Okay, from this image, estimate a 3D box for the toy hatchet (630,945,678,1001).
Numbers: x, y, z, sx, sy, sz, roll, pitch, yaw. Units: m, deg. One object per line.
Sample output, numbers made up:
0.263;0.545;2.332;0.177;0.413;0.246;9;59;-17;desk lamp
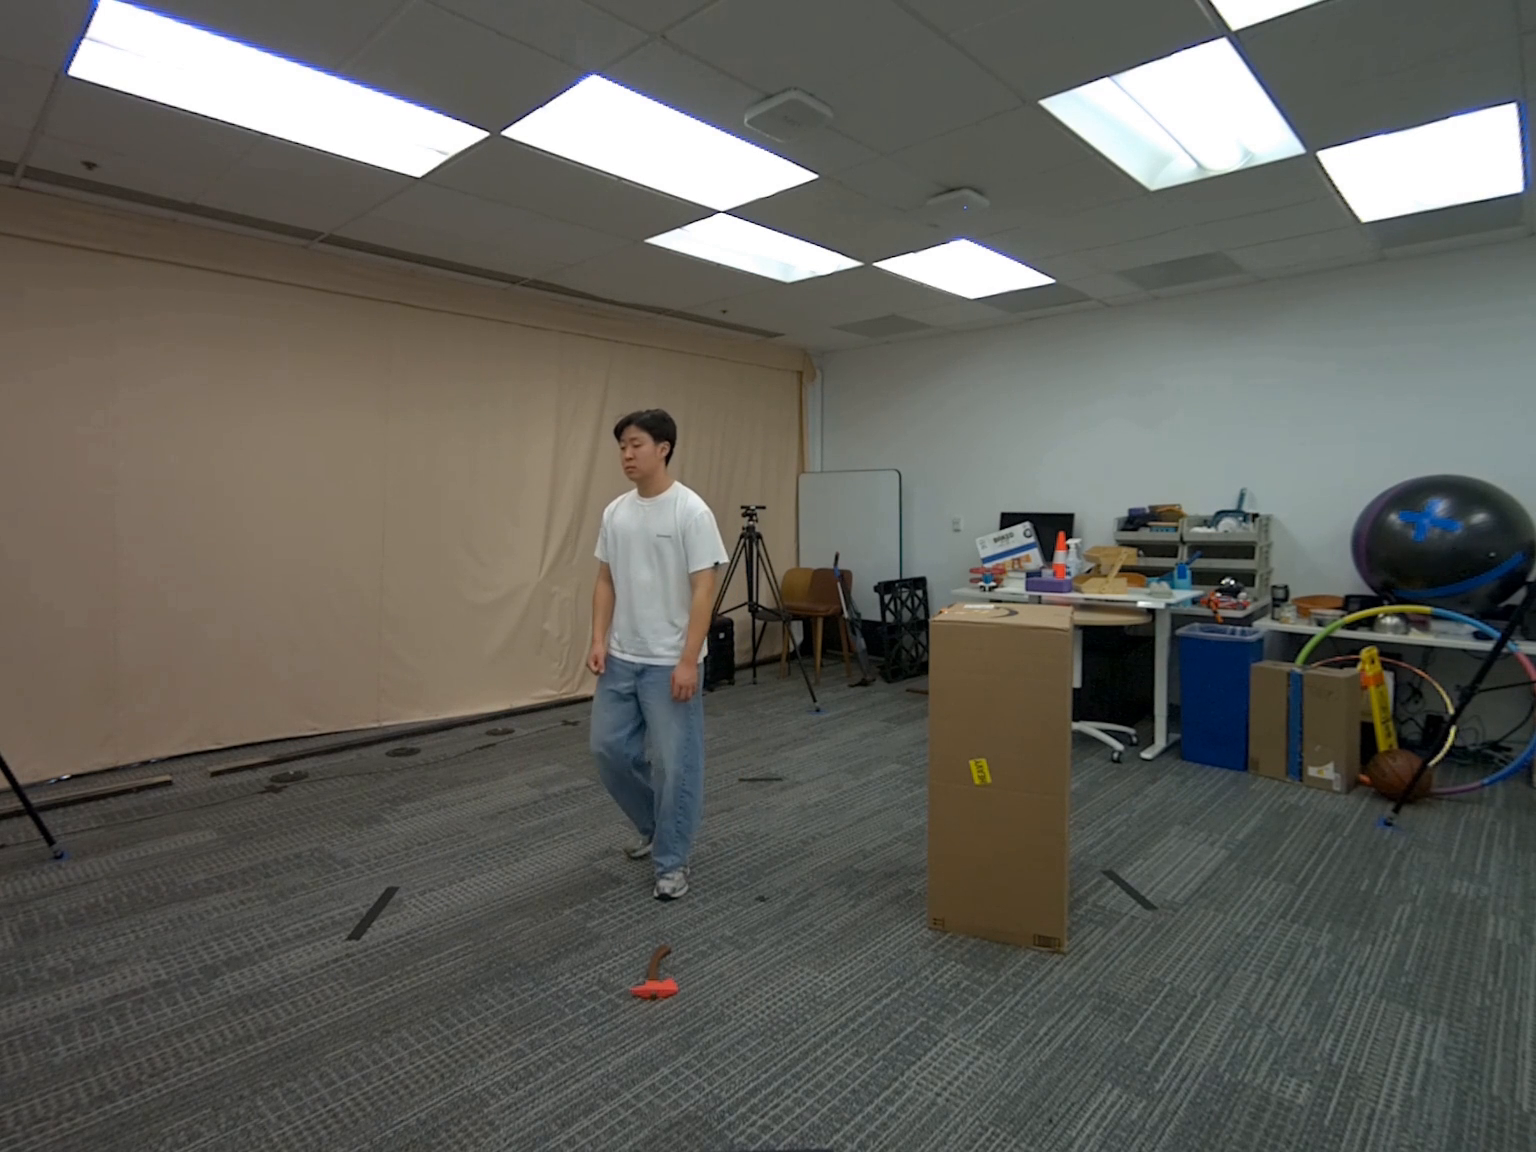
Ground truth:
-0.304;1.168;2.503;0.133;0.029;0.266;1;3;13;toy hatchet
